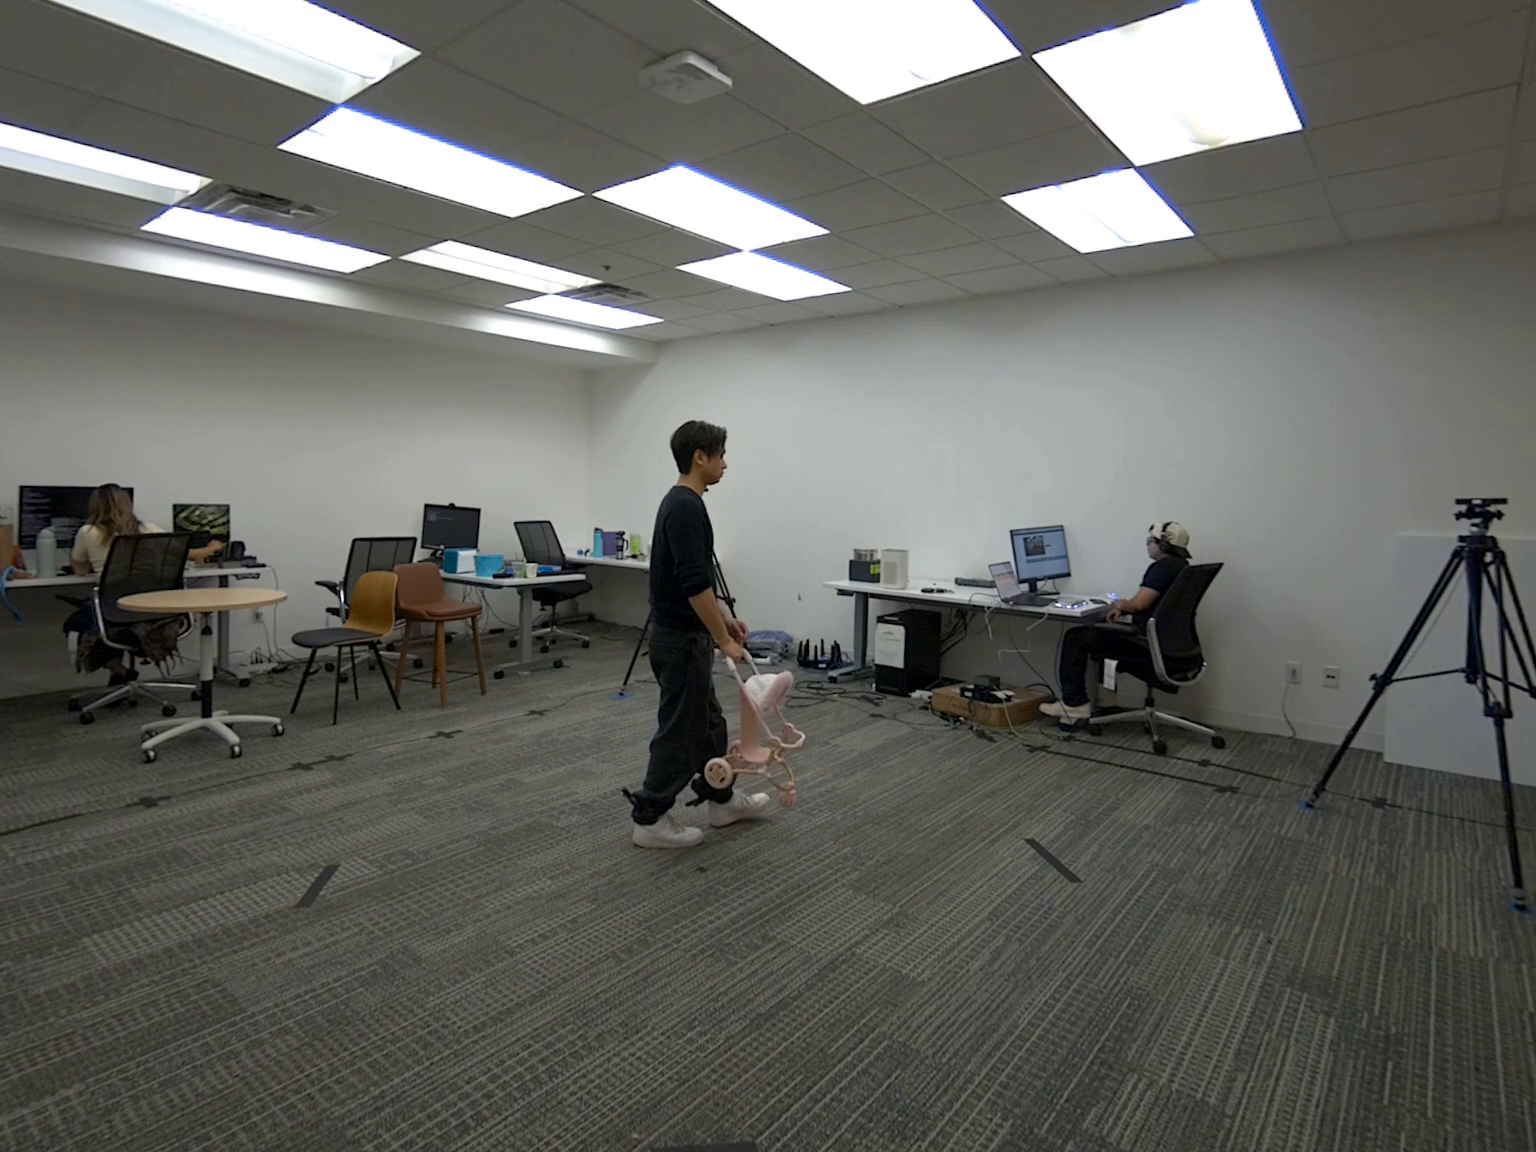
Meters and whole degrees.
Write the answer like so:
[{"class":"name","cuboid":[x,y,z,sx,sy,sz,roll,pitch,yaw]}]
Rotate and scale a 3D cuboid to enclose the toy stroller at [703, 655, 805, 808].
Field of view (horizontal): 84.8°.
[{"class":"toy stroller","cuboid":[-0.026,0.573,3.154,0.350,0.533,0.275,10,6,22]}]
